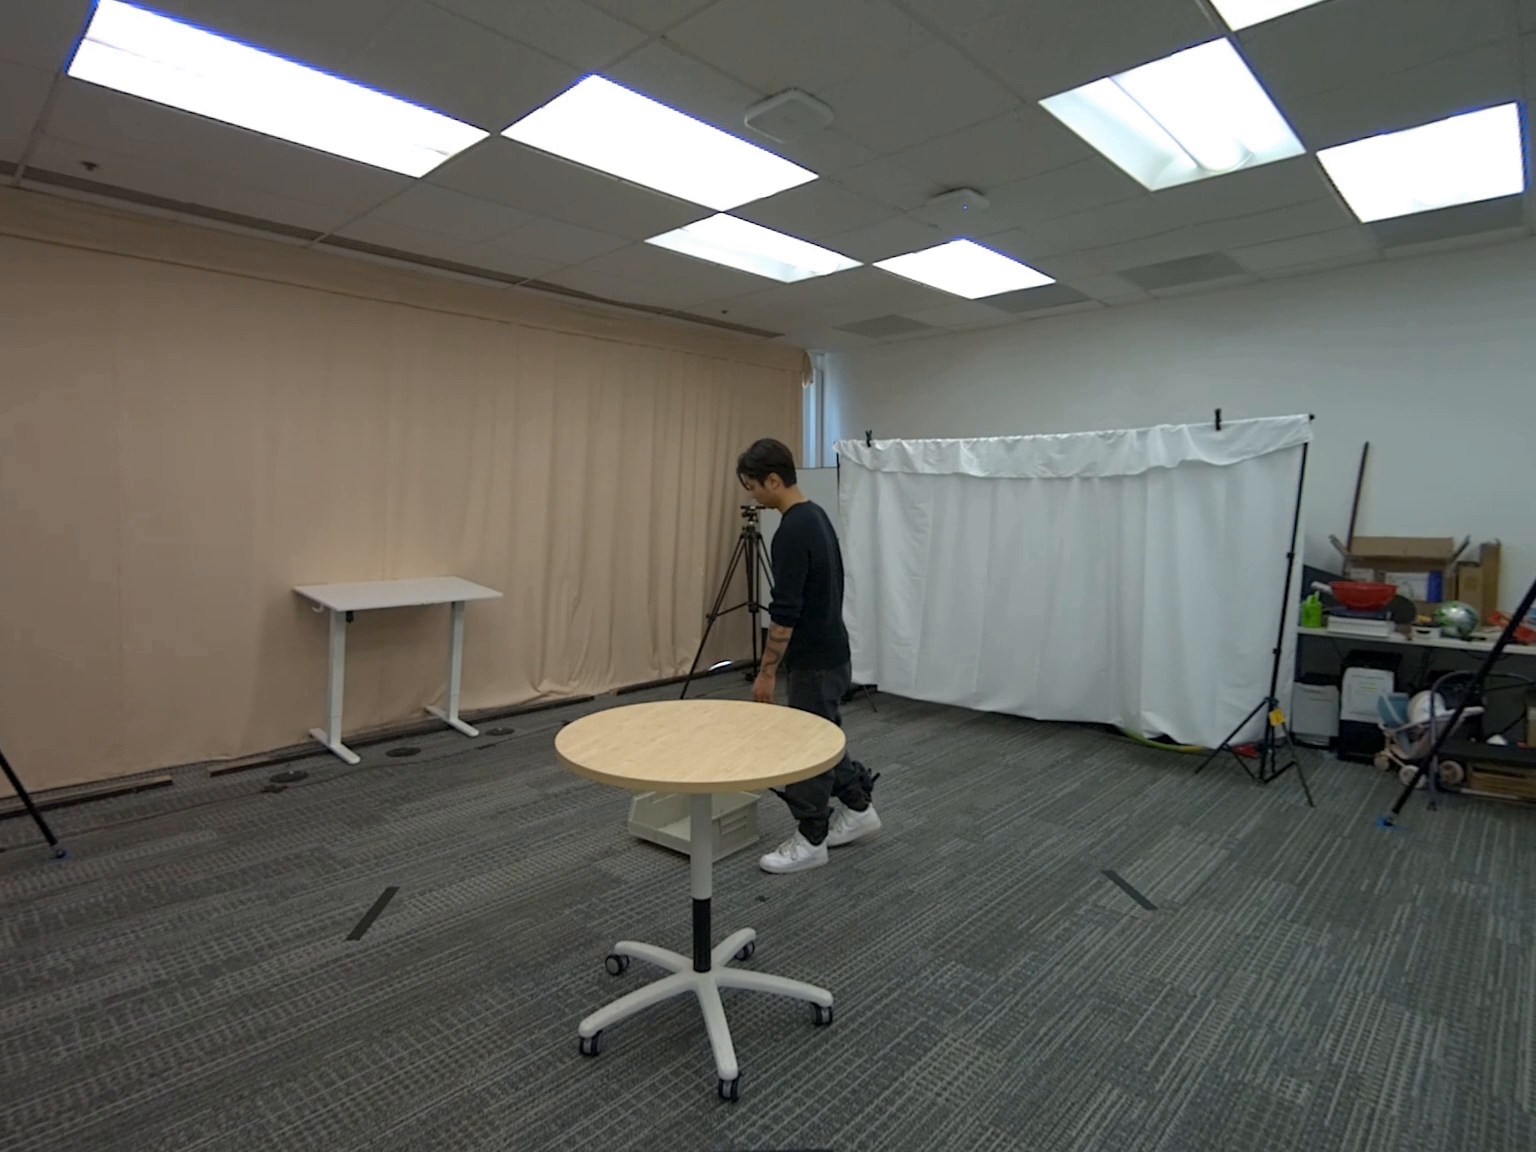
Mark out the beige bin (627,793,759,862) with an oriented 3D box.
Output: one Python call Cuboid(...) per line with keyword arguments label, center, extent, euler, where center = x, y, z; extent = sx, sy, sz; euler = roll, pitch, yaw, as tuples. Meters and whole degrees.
Cuboid(label="beige bin", center=(-0.301, 1.011, 3.508), extent=(0.436, 0.188, 0.366), euler=(3, 5, 39))
